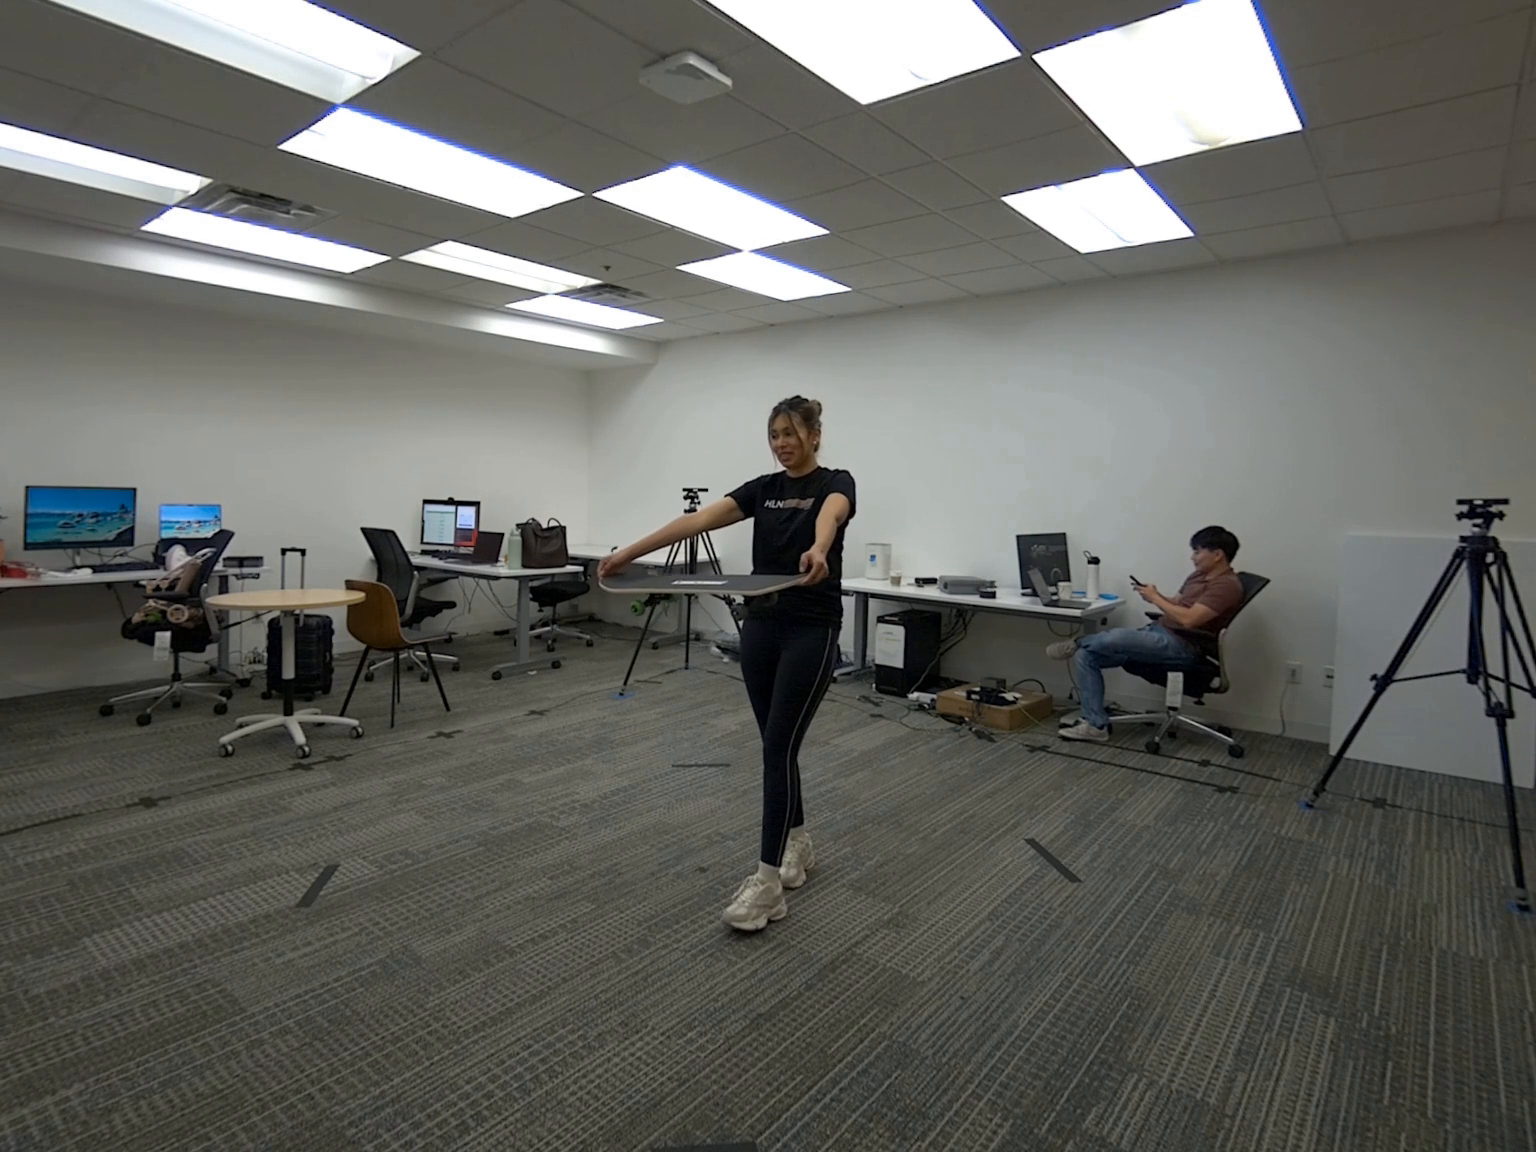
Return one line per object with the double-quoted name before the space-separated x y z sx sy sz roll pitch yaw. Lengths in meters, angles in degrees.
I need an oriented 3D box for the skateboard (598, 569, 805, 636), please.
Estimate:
"skateboard" -0.218 0.055 2.566 0.810 0.109 0.190 1 15 37
